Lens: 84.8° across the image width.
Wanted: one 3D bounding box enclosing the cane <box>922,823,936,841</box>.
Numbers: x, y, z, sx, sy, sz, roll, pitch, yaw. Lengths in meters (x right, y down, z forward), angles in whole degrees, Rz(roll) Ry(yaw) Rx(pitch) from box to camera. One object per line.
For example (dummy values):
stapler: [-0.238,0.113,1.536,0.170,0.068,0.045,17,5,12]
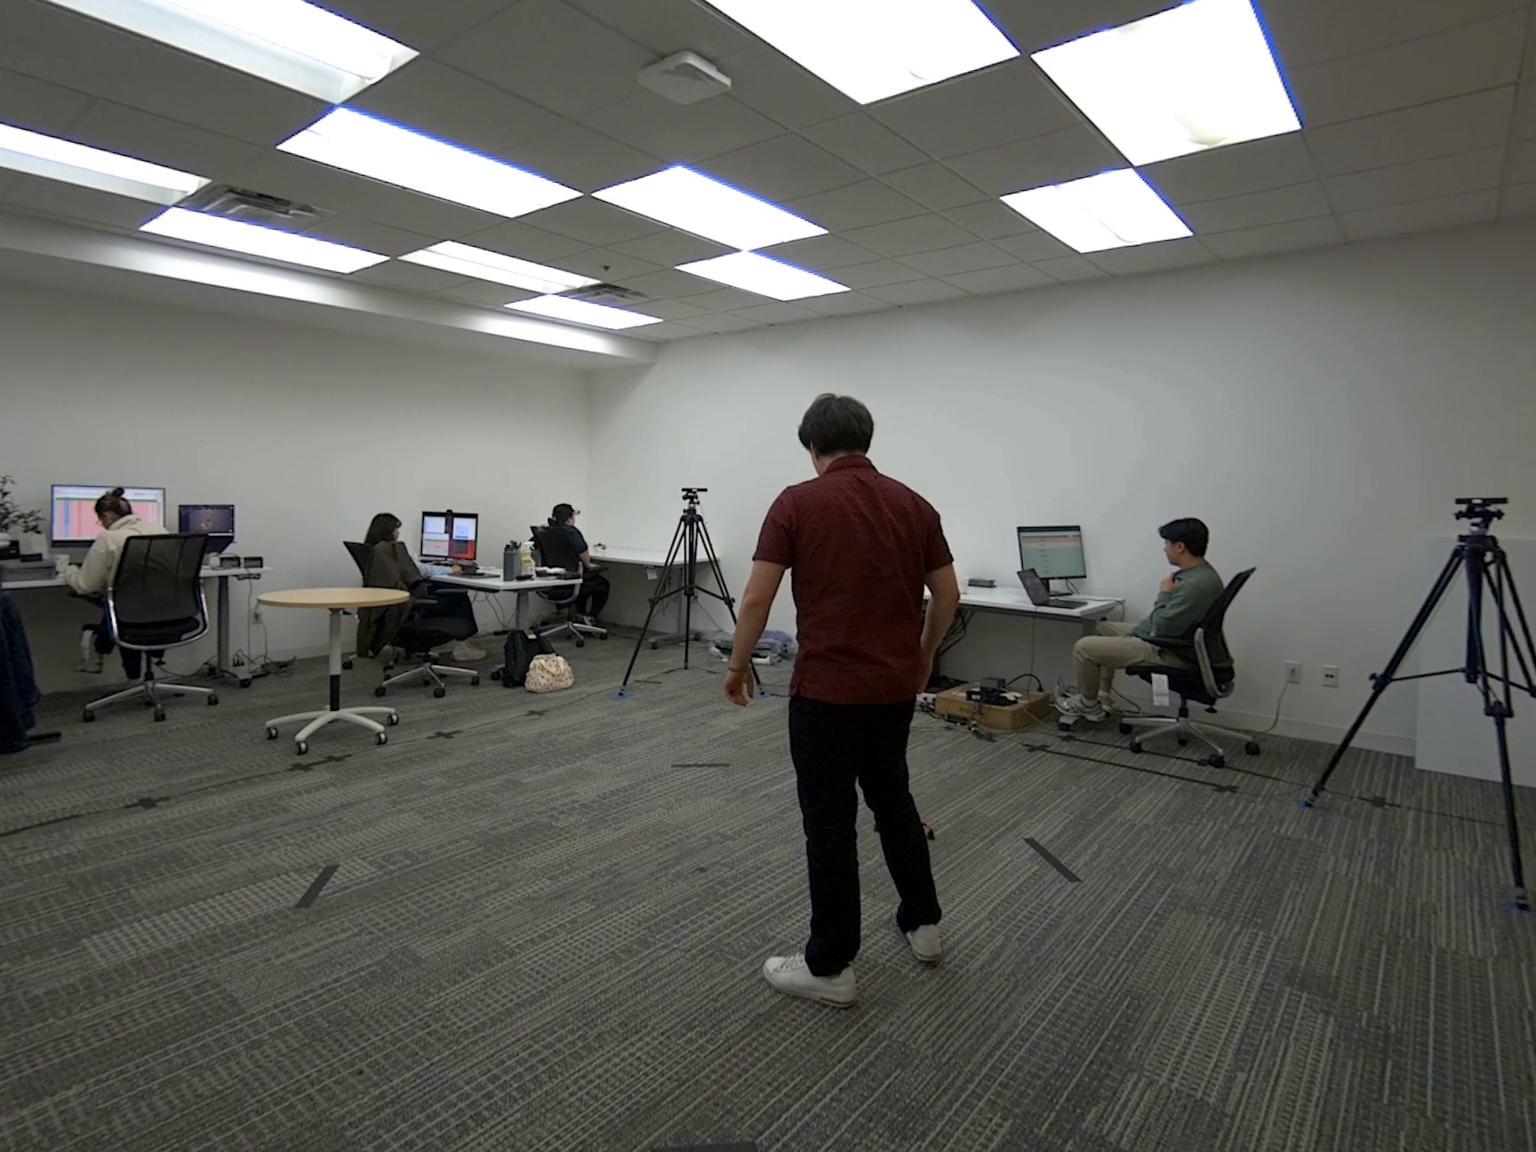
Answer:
cane: [0.556,0.593,3.438,0.147,0.905,0.213,-1,4,-37]
